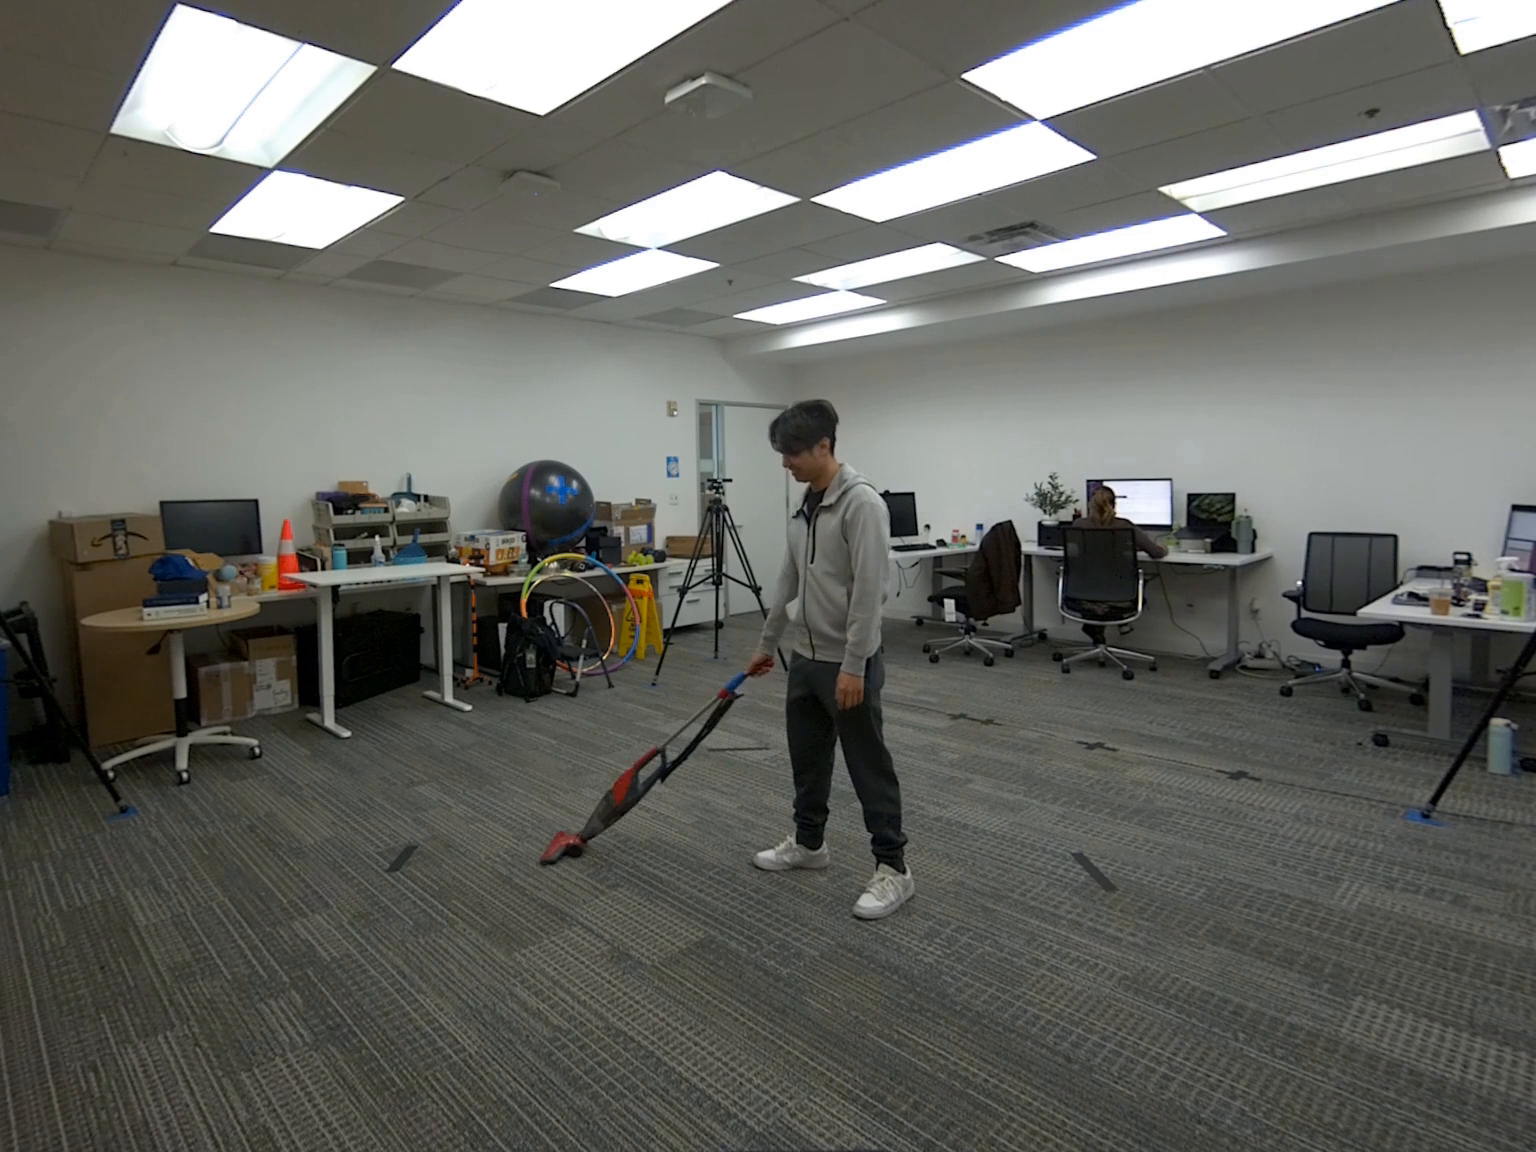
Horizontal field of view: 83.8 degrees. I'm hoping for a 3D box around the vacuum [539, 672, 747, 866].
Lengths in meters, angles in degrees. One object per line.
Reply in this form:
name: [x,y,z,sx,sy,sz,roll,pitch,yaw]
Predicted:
vacuum: [-0.365,0.678,3.189,1.050,0.143,0.253,-42,4,6]
